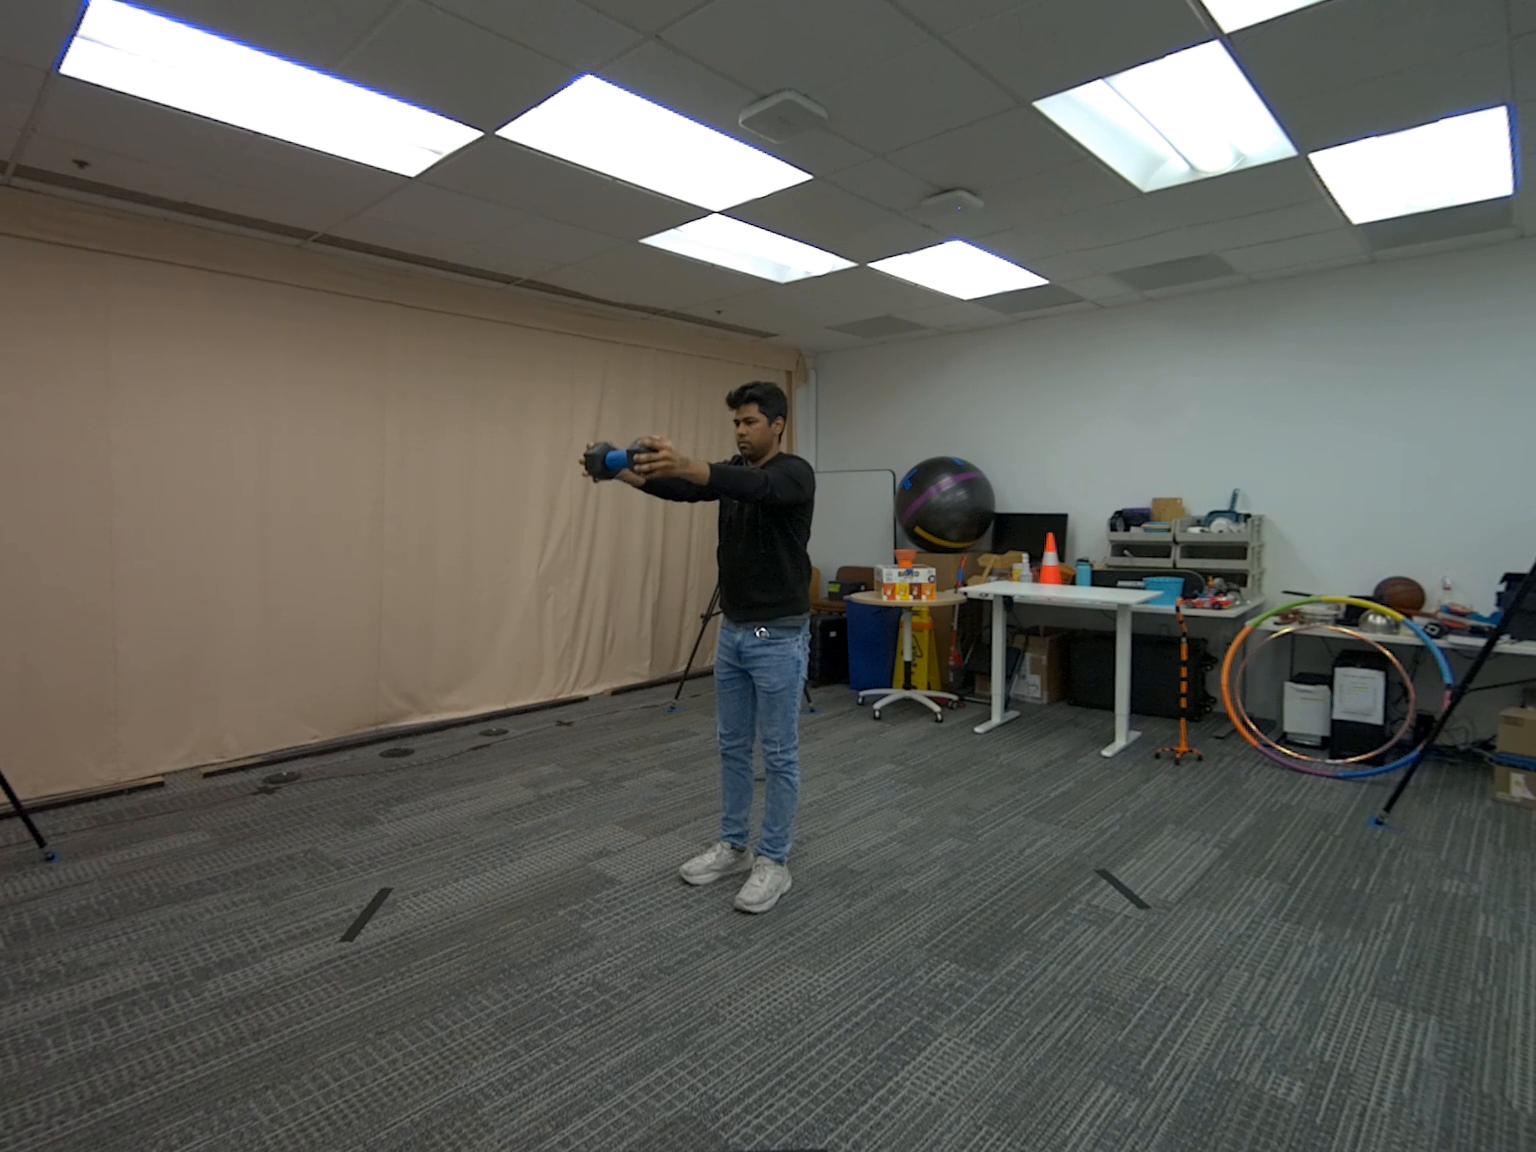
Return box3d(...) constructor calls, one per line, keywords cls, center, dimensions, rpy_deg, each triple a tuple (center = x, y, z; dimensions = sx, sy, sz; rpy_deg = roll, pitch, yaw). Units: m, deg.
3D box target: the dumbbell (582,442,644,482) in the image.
box3d(cls="dumbbell", center=(-0.428, -0.364, 2.607), dimensions=(0.303, 0.122, 0.106), rpy_deg=(2, 10, 44))
